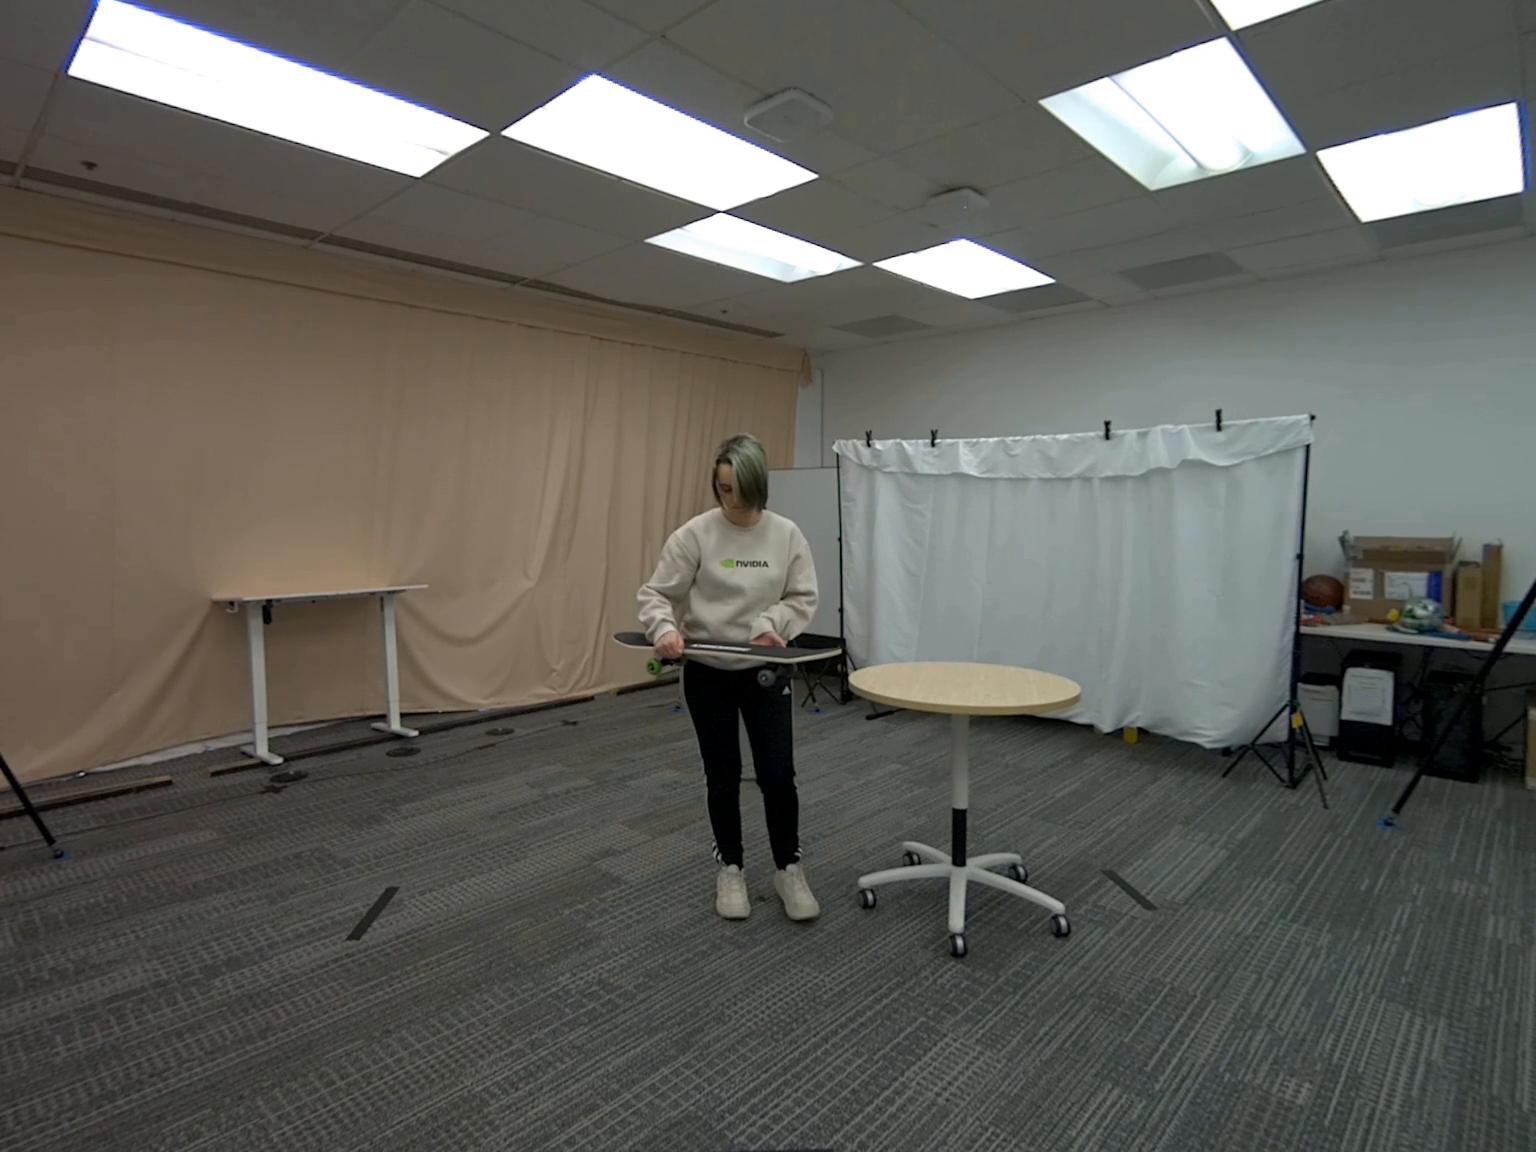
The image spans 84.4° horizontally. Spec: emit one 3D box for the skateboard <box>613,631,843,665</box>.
[{"bbox_3d":[-0.153,0.259,2.613,0.806,0.110,0.189,1,6,27],"label":"skateboard"}]
